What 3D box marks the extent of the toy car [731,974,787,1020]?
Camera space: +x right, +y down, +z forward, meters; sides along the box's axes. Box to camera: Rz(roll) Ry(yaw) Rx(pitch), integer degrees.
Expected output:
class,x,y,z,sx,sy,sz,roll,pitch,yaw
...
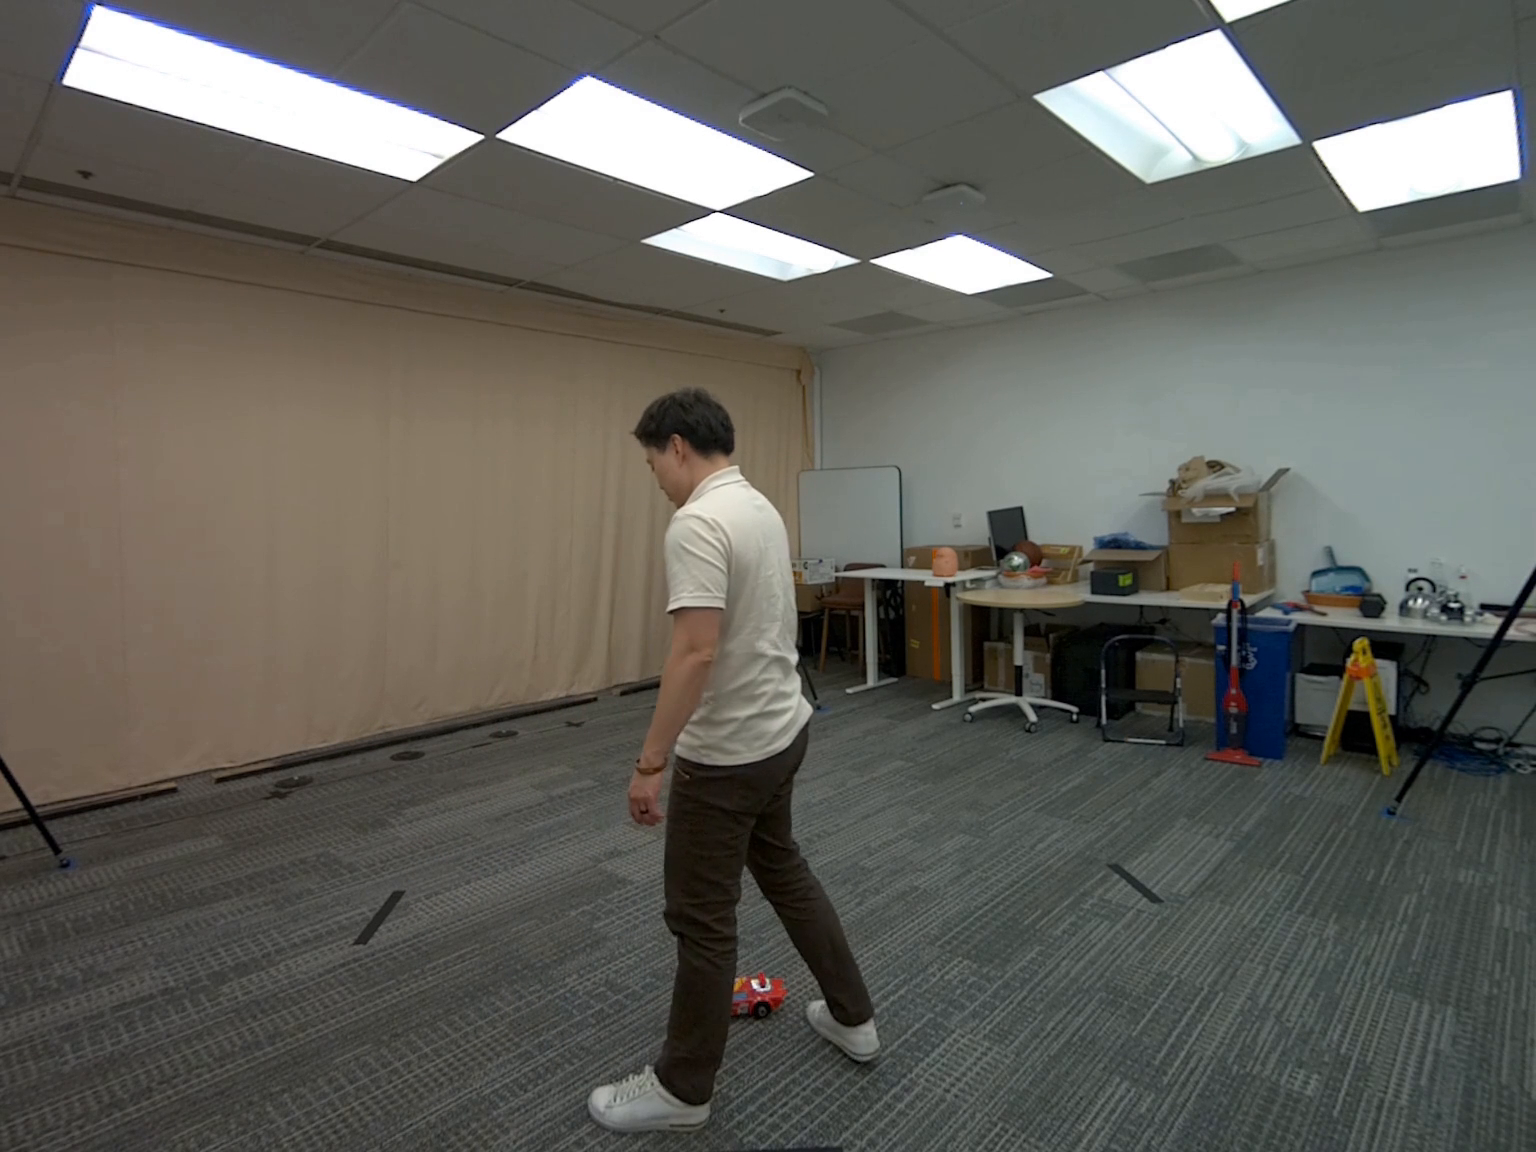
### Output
class,x,y,z,sx,sy,sz,roll,pitch,yaw
toy car,-0.069,1.170,2.320,0.253,0.083,0.131,-13,5,-5
